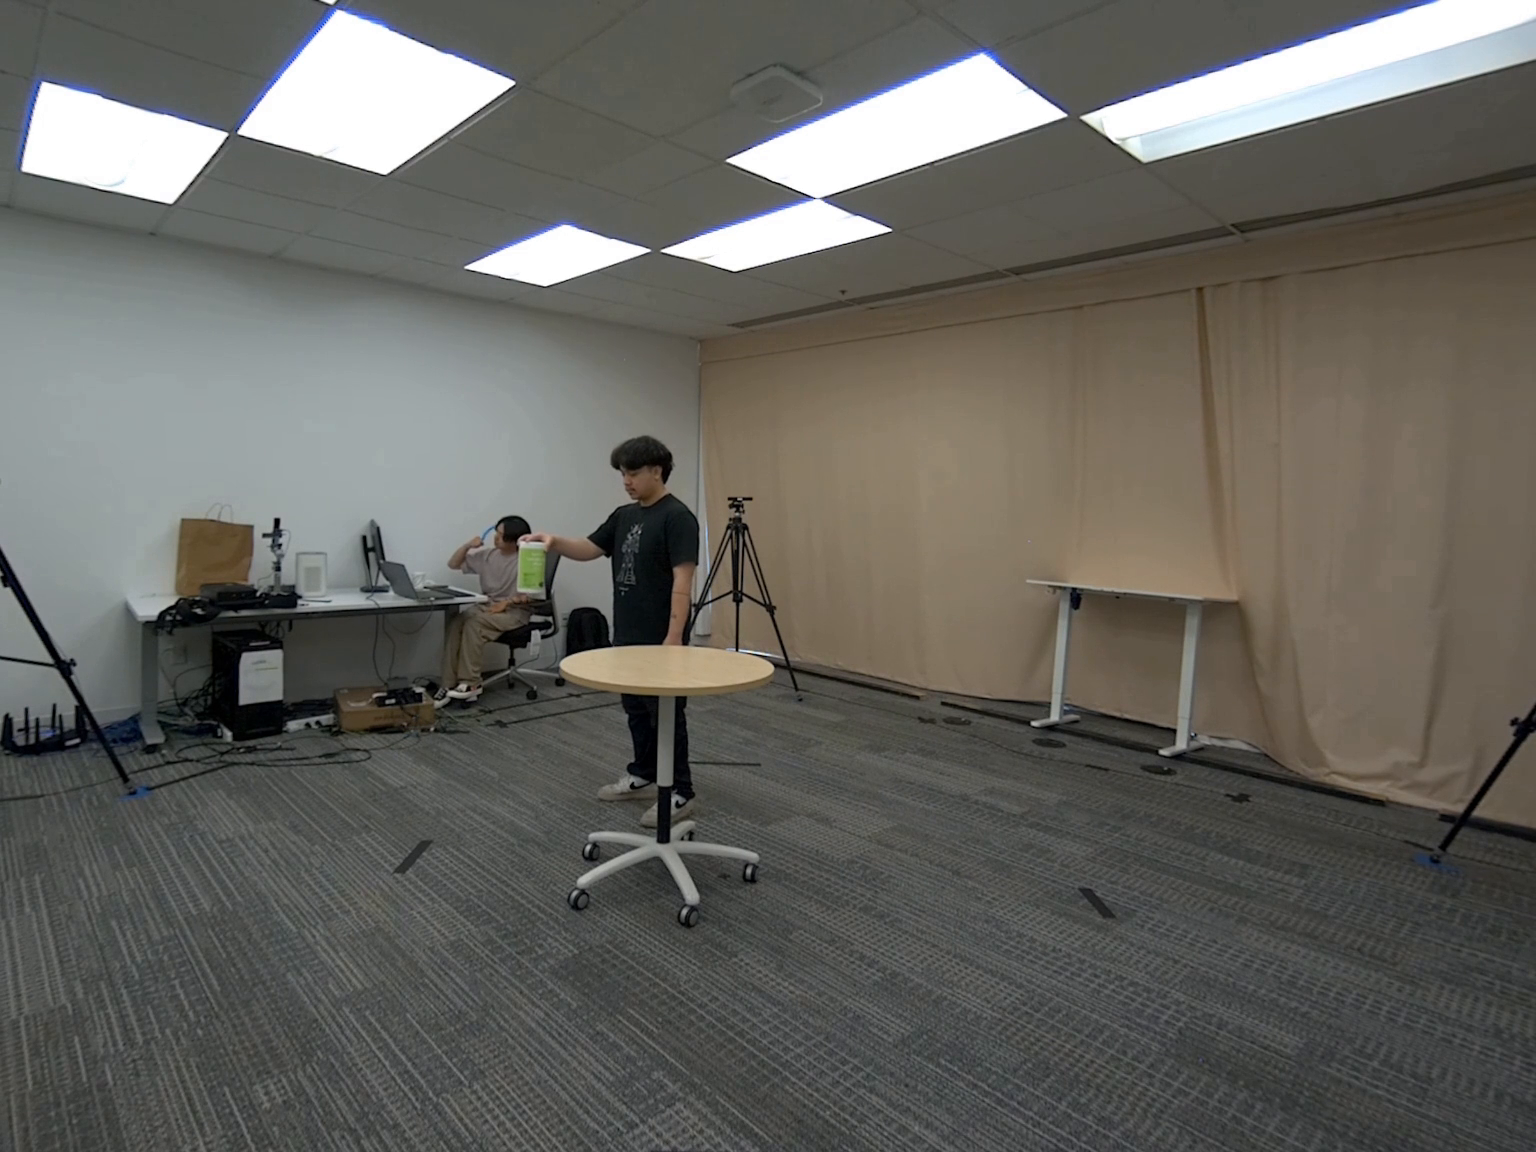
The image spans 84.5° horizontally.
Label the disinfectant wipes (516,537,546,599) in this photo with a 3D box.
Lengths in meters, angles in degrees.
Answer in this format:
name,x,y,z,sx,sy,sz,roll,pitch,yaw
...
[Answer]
name,x,y,z,sx,sy,sz,roll,pitch,yaw
disinfectant wipes,-0.994,-0.036,3.521,0.118,0.217,0.118,4,3,-2
